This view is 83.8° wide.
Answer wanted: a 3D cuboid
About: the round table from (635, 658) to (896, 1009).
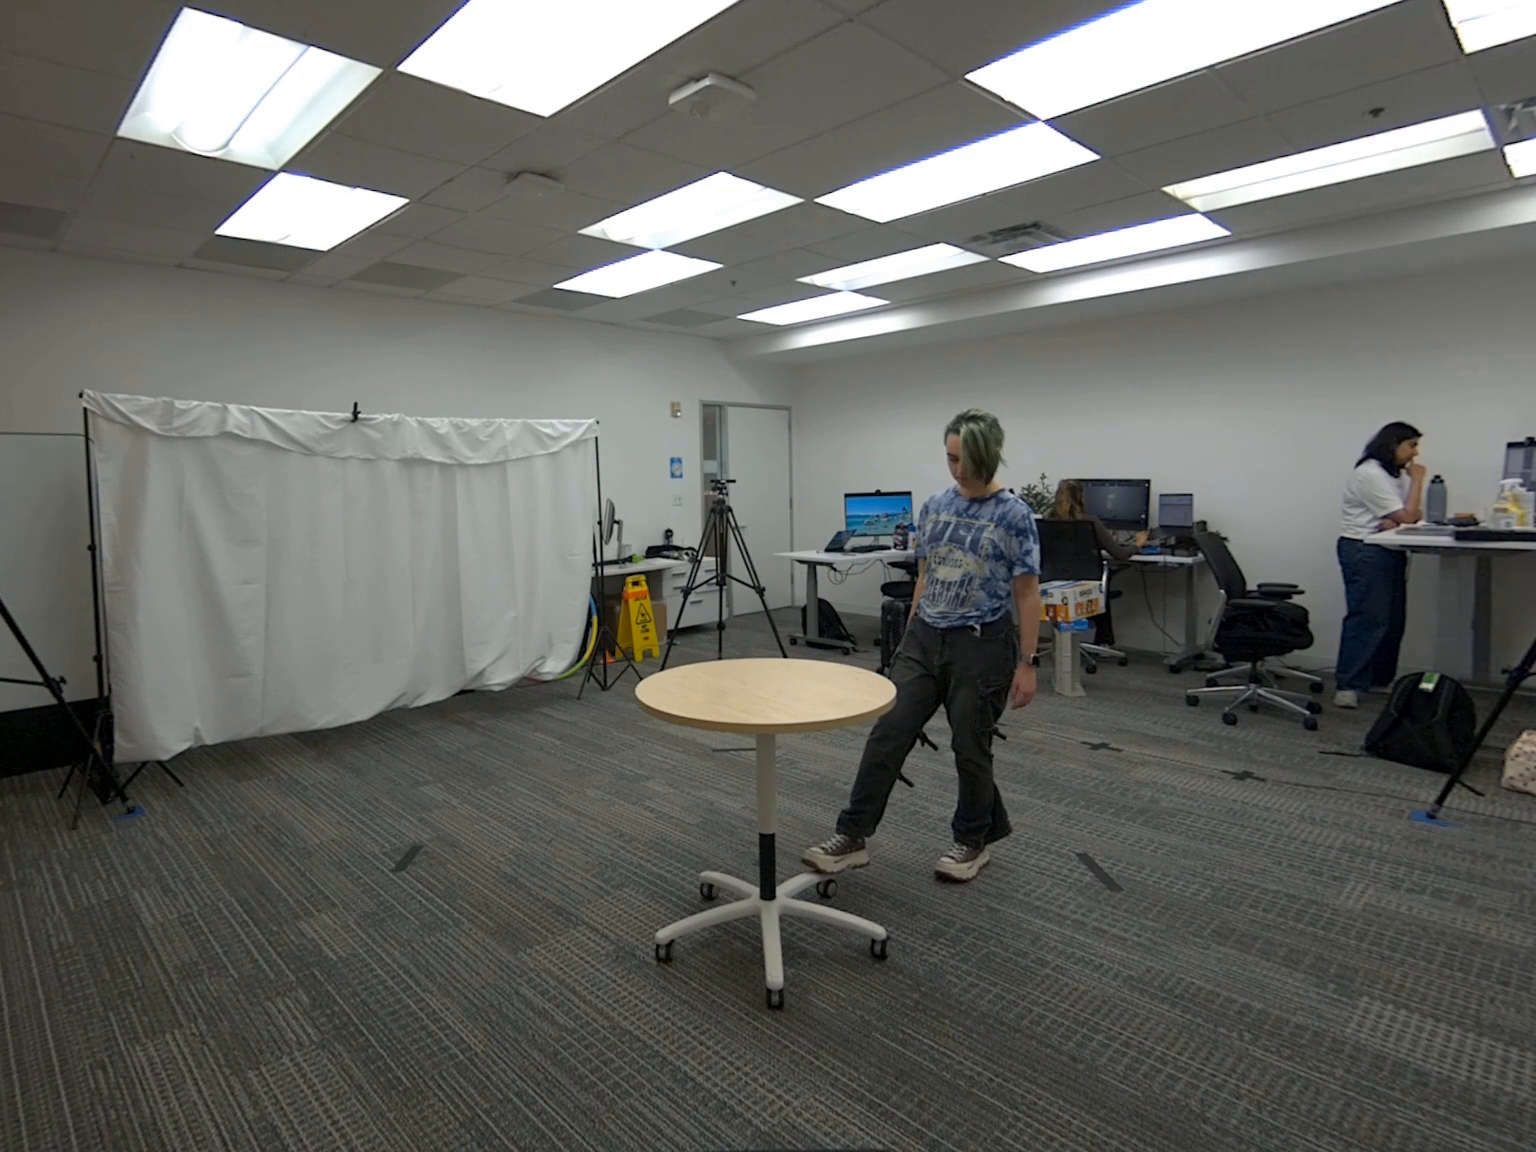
[{"bbox_3d":[0.003,0.722,2.556,0.763,0.790,0.768,-2,5,-2],"label":"round table"}]
